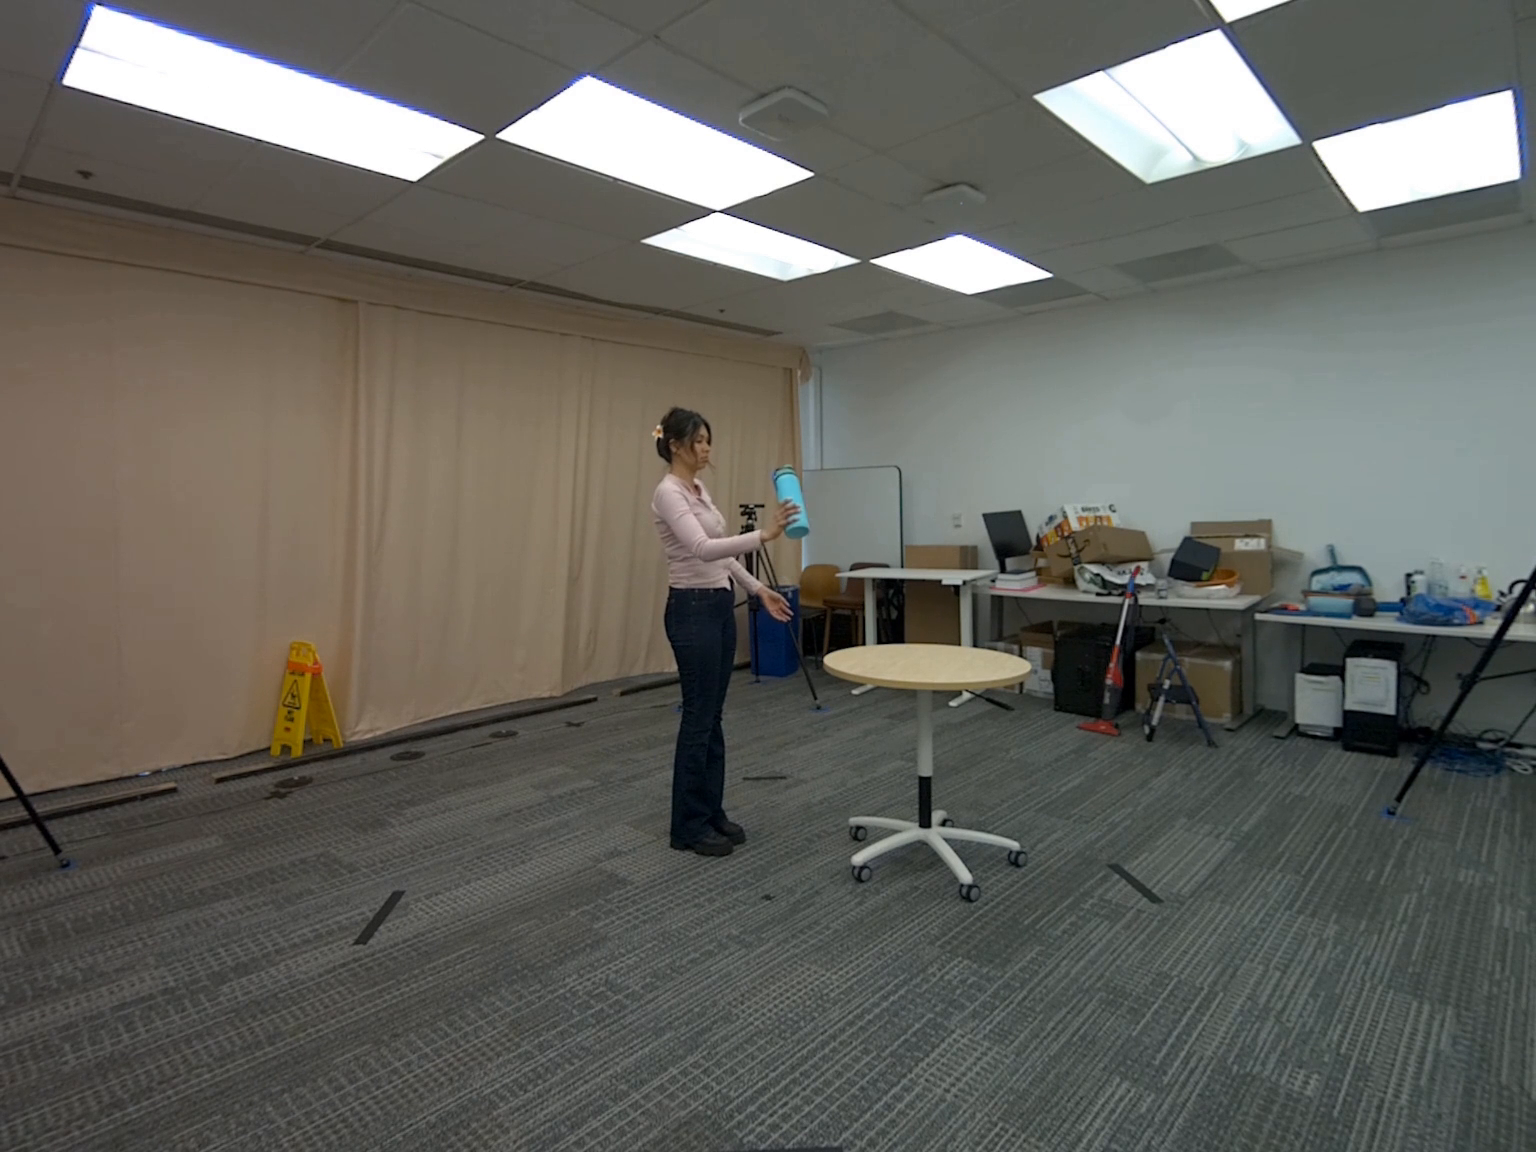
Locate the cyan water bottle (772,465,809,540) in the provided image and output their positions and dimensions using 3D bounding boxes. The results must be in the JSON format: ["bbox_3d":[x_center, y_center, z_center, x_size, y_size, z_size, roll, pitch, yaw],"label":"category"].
[{"bbox_3d":[0.086,-0.272,3.049,0.092,0.289,0.091,-9,-28,-6],"label":"cyan water bottle"}]
